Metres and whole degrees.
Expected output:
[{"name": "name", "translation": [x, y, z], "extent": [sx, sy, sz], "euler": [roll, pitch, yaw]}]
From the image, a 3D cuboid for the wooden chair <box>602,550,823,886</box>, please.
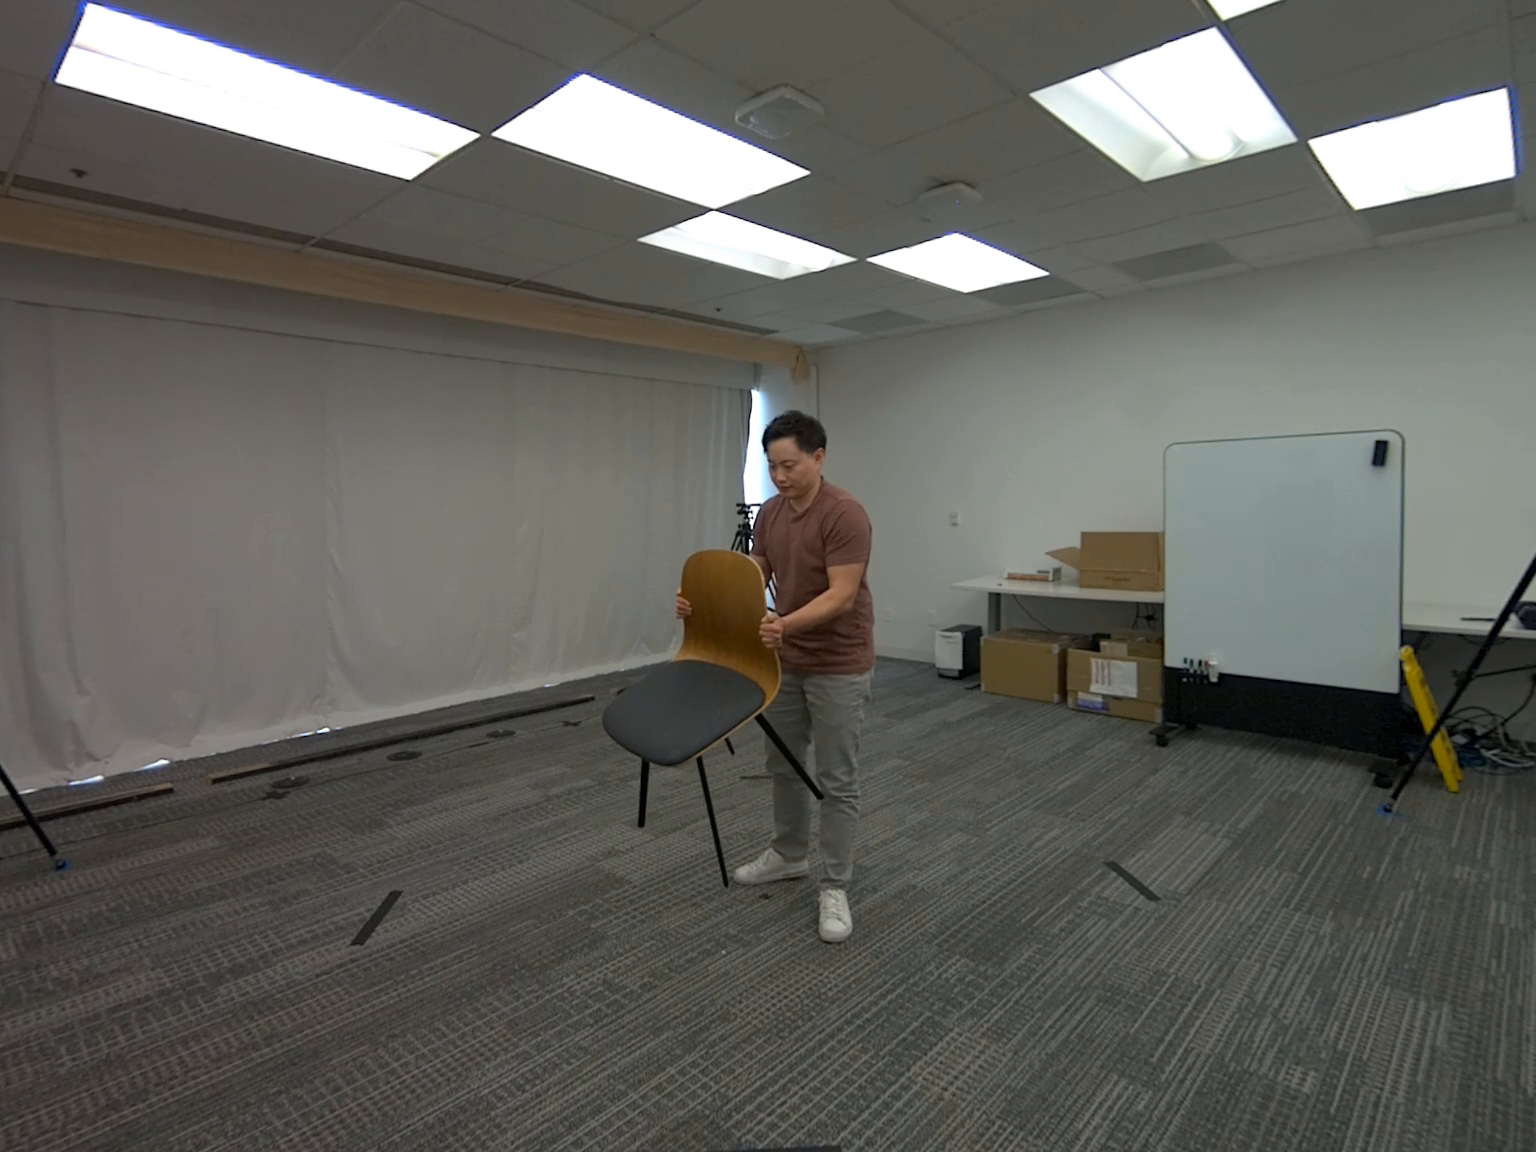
[{"name": "wooden chair", "translation": [-0.215, 0.423, 2.623], "extent": [0.513, 0.863, 0.495], "euler": [-27, 28, -36]}]
